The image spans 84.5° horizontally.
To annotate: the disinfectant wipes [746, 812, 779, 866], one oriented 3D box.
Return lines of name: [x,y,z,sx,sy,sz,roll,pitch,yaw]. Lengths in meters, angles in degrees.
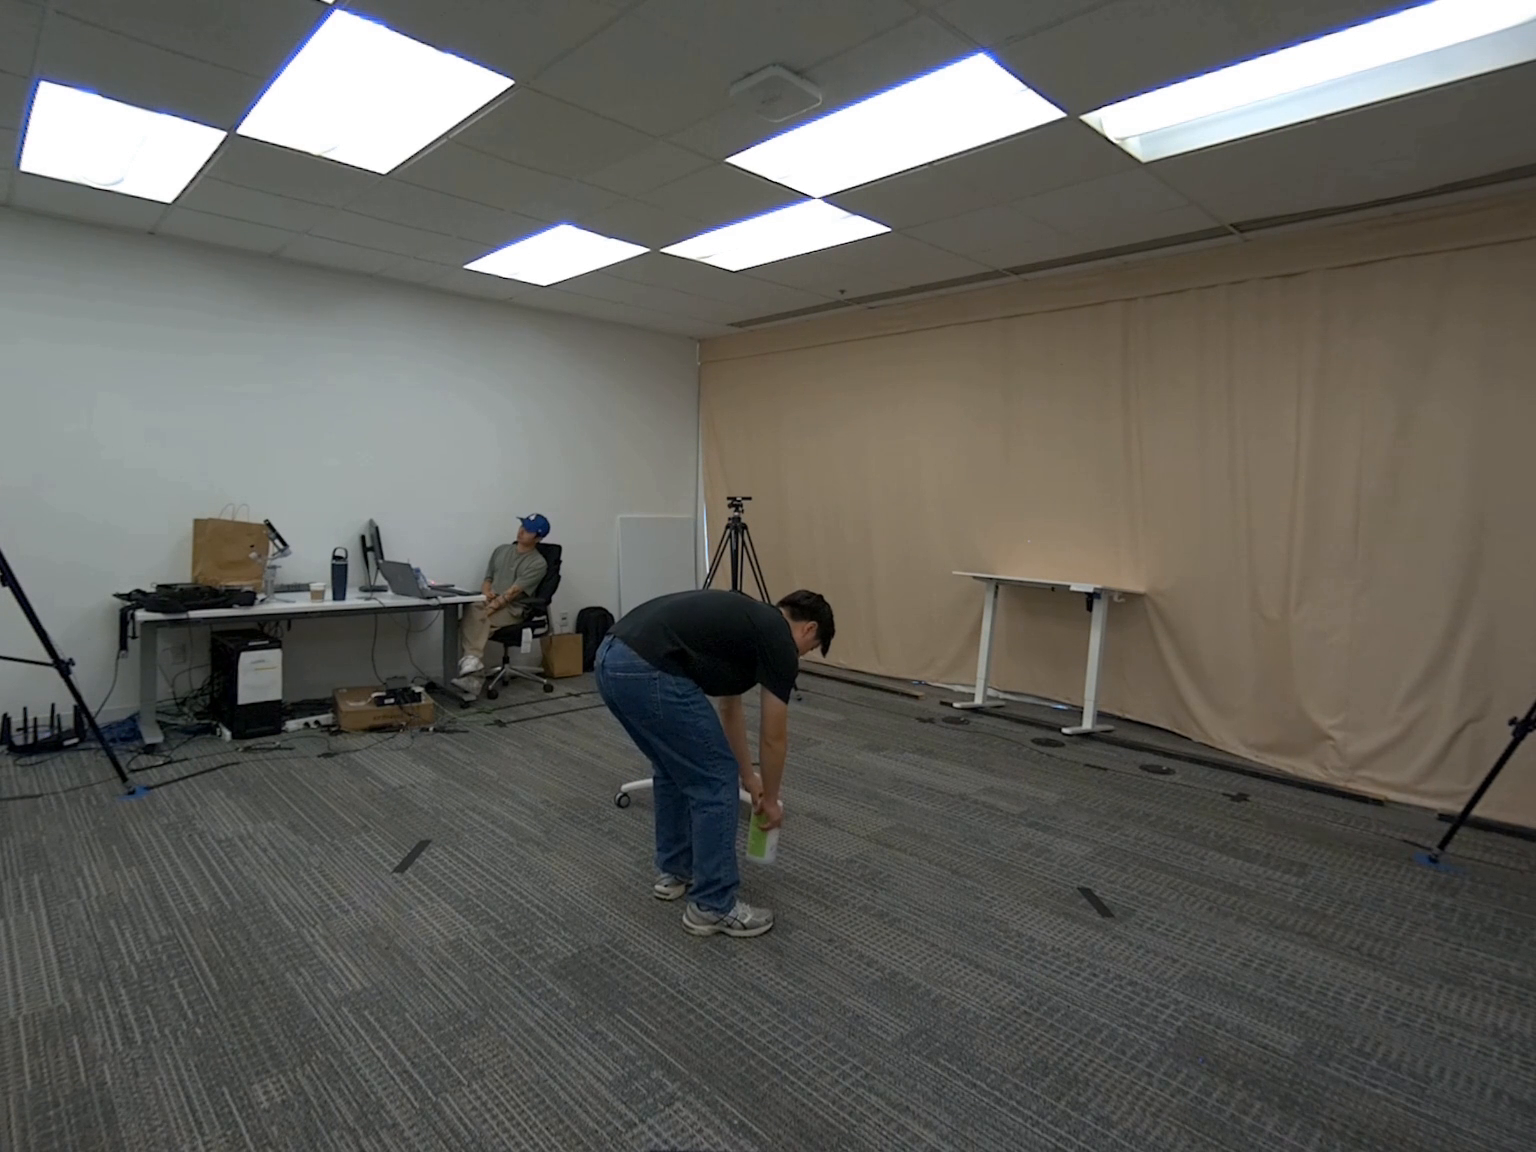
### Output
disinfectant wipes: [-0.033,0.925,3.054,0.118,0.217,0.118,6,1,-2]
